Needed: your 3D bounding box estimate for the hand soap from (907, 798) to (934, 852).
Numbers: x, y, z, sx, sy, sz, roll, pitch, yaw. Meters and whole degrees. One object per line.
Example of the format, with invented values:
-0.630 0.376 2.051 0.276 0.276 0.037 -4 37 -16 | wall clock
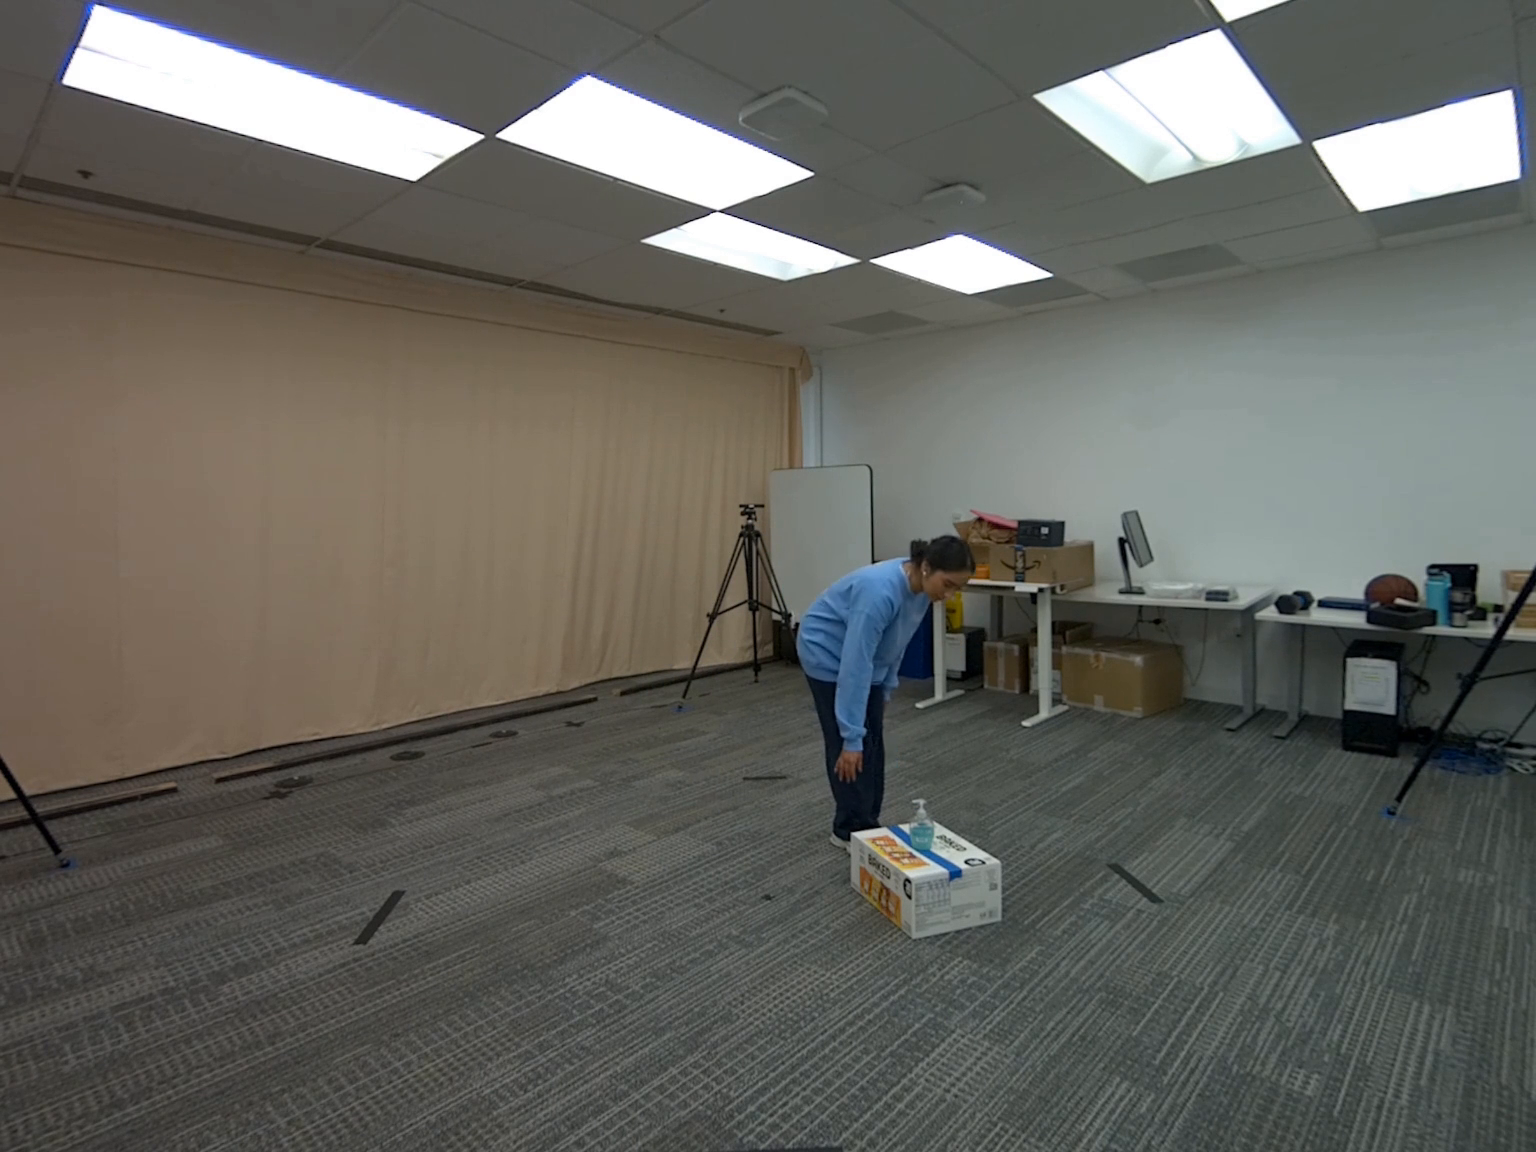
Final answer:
0.531 0.853 2.910 0.085 0.167 0.043 -1 5 7 | hand soap
